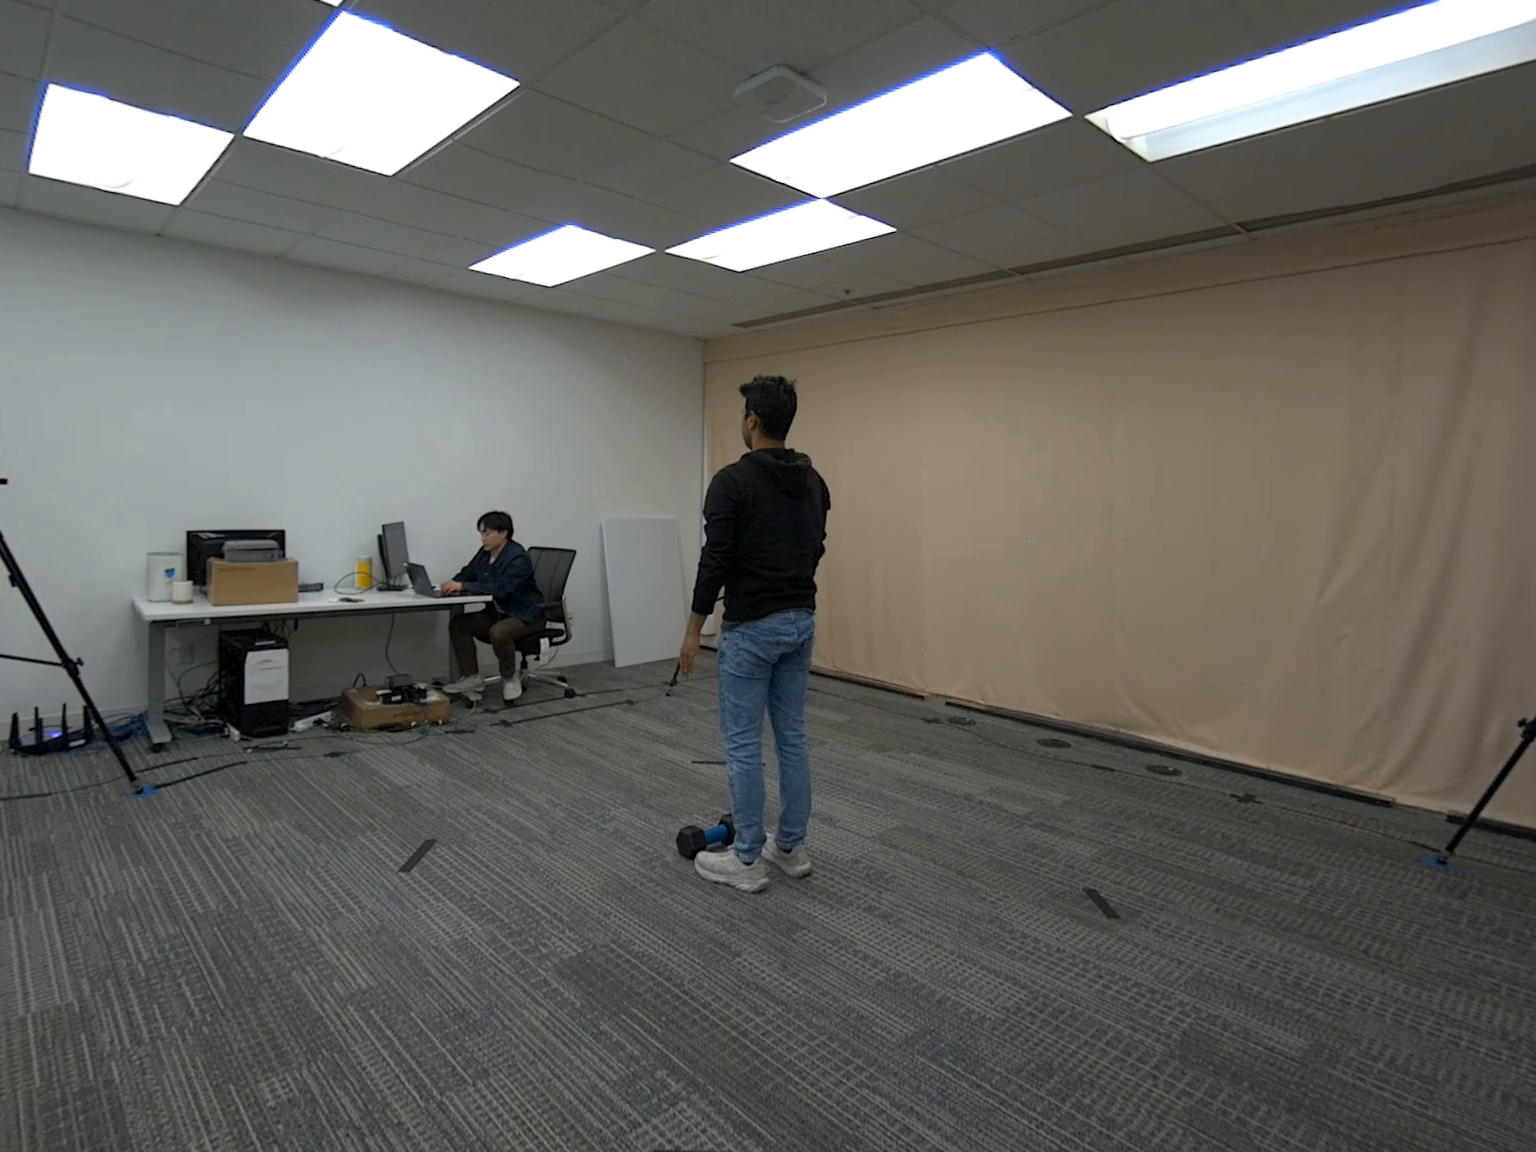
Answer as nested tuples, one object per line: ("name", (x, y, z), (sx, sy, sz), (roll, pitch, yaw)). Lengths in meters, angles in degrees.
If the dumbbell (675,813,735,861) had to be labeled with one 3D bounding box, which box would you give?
("dumbbell", (-0.228, 1.030, 3.340), (0.287, 0.108, 0.126), (-4, 7, -43))
